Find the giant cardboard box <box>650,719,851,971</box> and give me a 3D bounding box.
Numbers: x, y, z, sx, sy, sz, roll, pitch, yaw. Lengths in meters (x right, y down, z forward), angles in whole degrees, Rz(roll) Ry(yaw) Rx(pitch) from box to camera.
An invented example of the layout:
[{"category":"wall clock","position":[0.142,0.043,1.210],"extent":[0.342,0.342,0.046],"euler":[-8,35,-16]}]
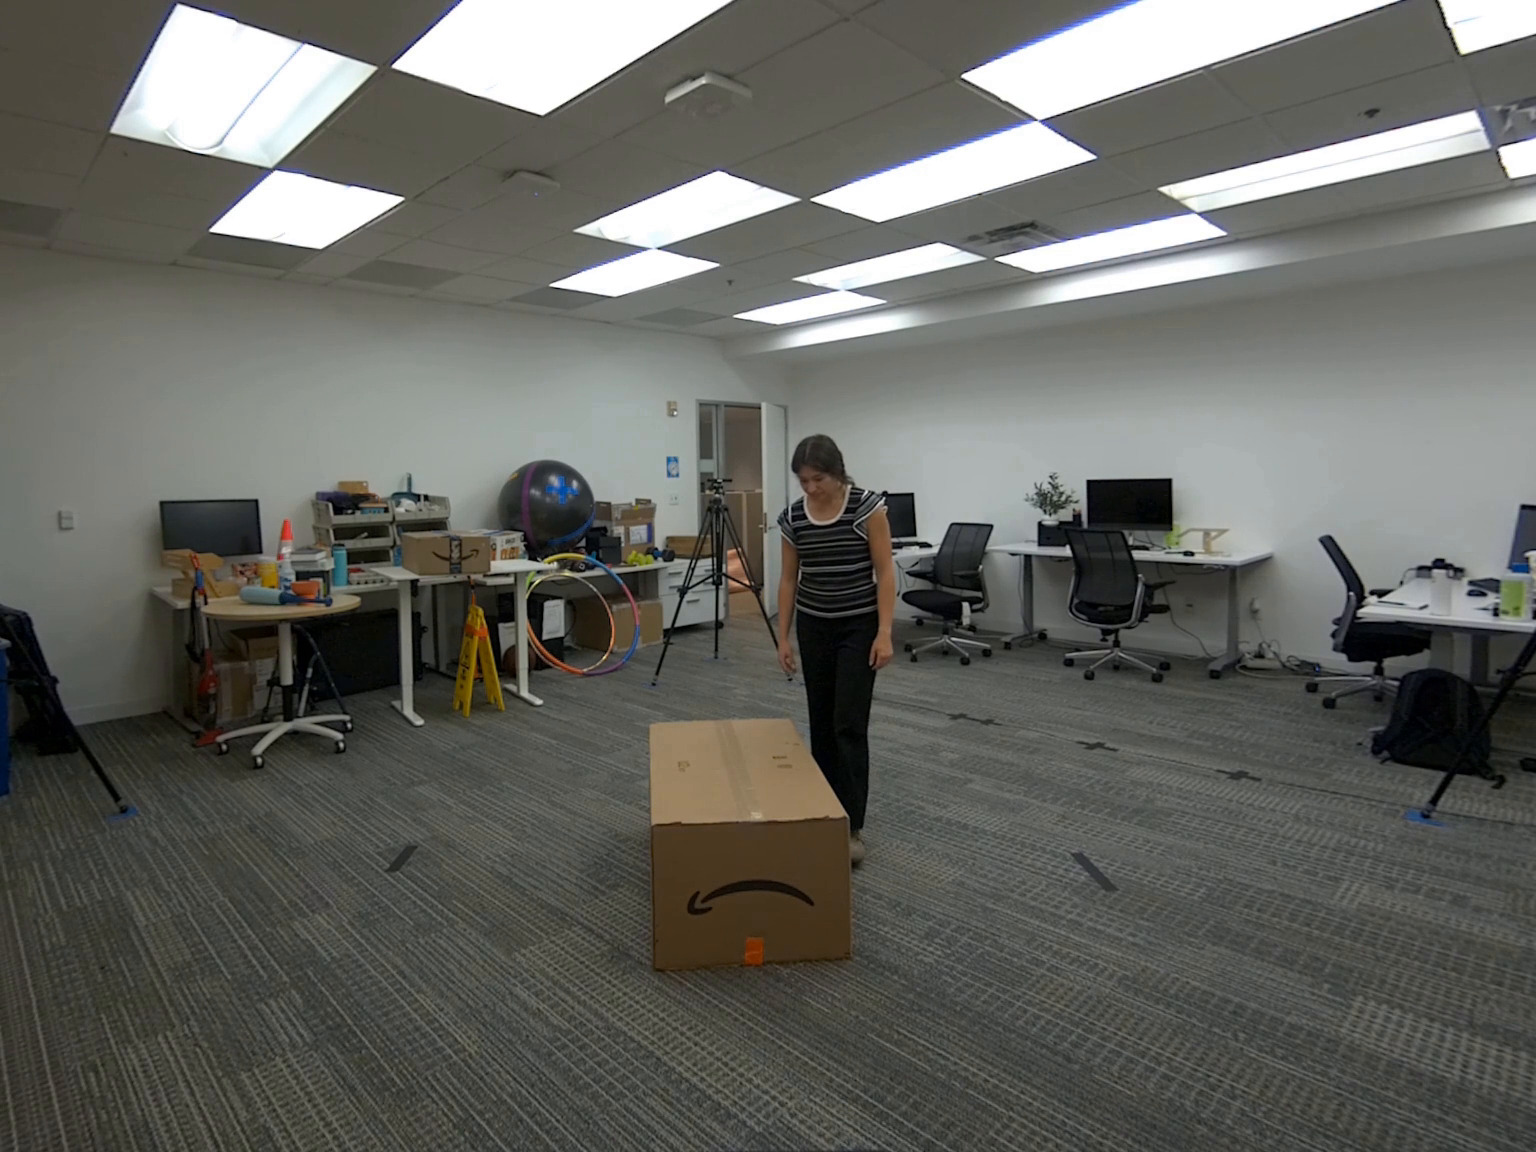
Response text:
[{"category":"giant cardboard box","position":[-0.118,0.852,2.946],"extent":[0.574,0.424,1.037],"euler":[-1,6,-7]}]
